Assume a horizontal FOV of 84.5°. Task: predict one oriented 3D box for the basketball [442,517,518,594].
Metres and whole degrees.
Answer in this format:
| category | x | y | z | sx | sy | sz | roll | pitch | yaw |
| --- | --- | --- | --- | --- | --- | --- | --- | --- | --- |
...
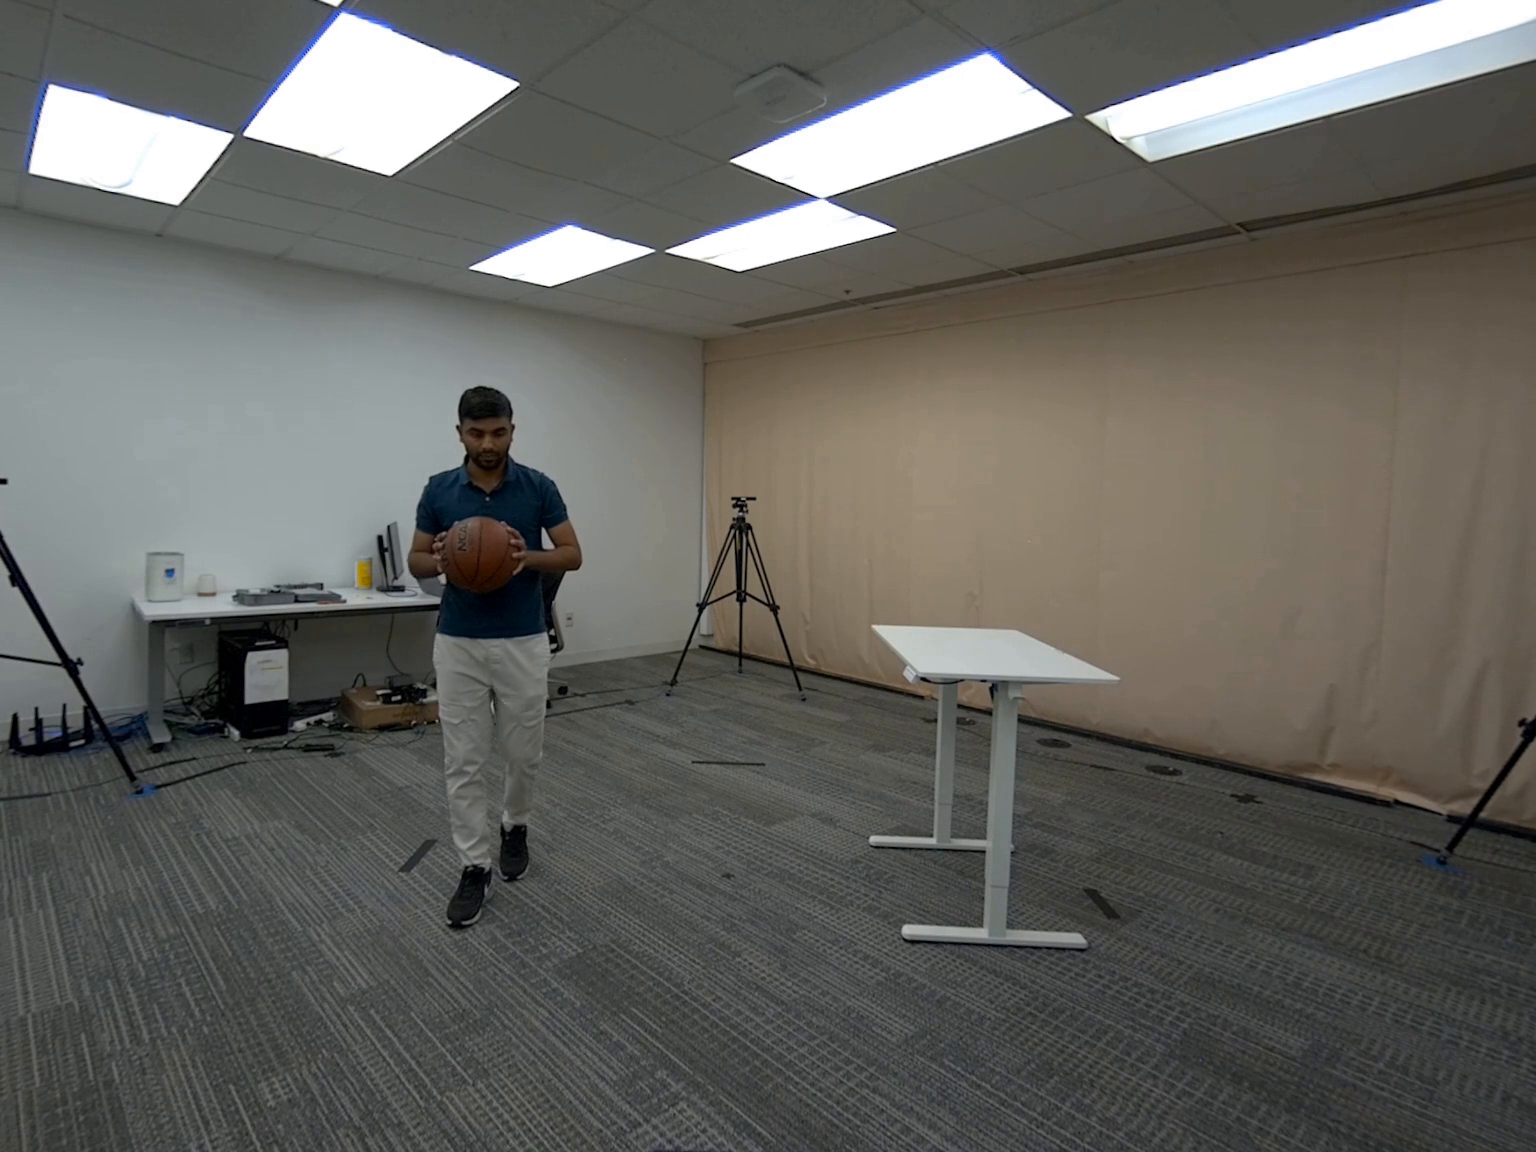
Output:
| category | x | y | z | sx | sy | sz | roll | pitch | yaw |
| --- | --- | --- | --- | --- | --- | --- | --- | --- | --- |
| basketball | -0.919 | -0.065 | 2.623 | 0.236 | 0.235 | 0.237 | 1 | 4 | -1 |
